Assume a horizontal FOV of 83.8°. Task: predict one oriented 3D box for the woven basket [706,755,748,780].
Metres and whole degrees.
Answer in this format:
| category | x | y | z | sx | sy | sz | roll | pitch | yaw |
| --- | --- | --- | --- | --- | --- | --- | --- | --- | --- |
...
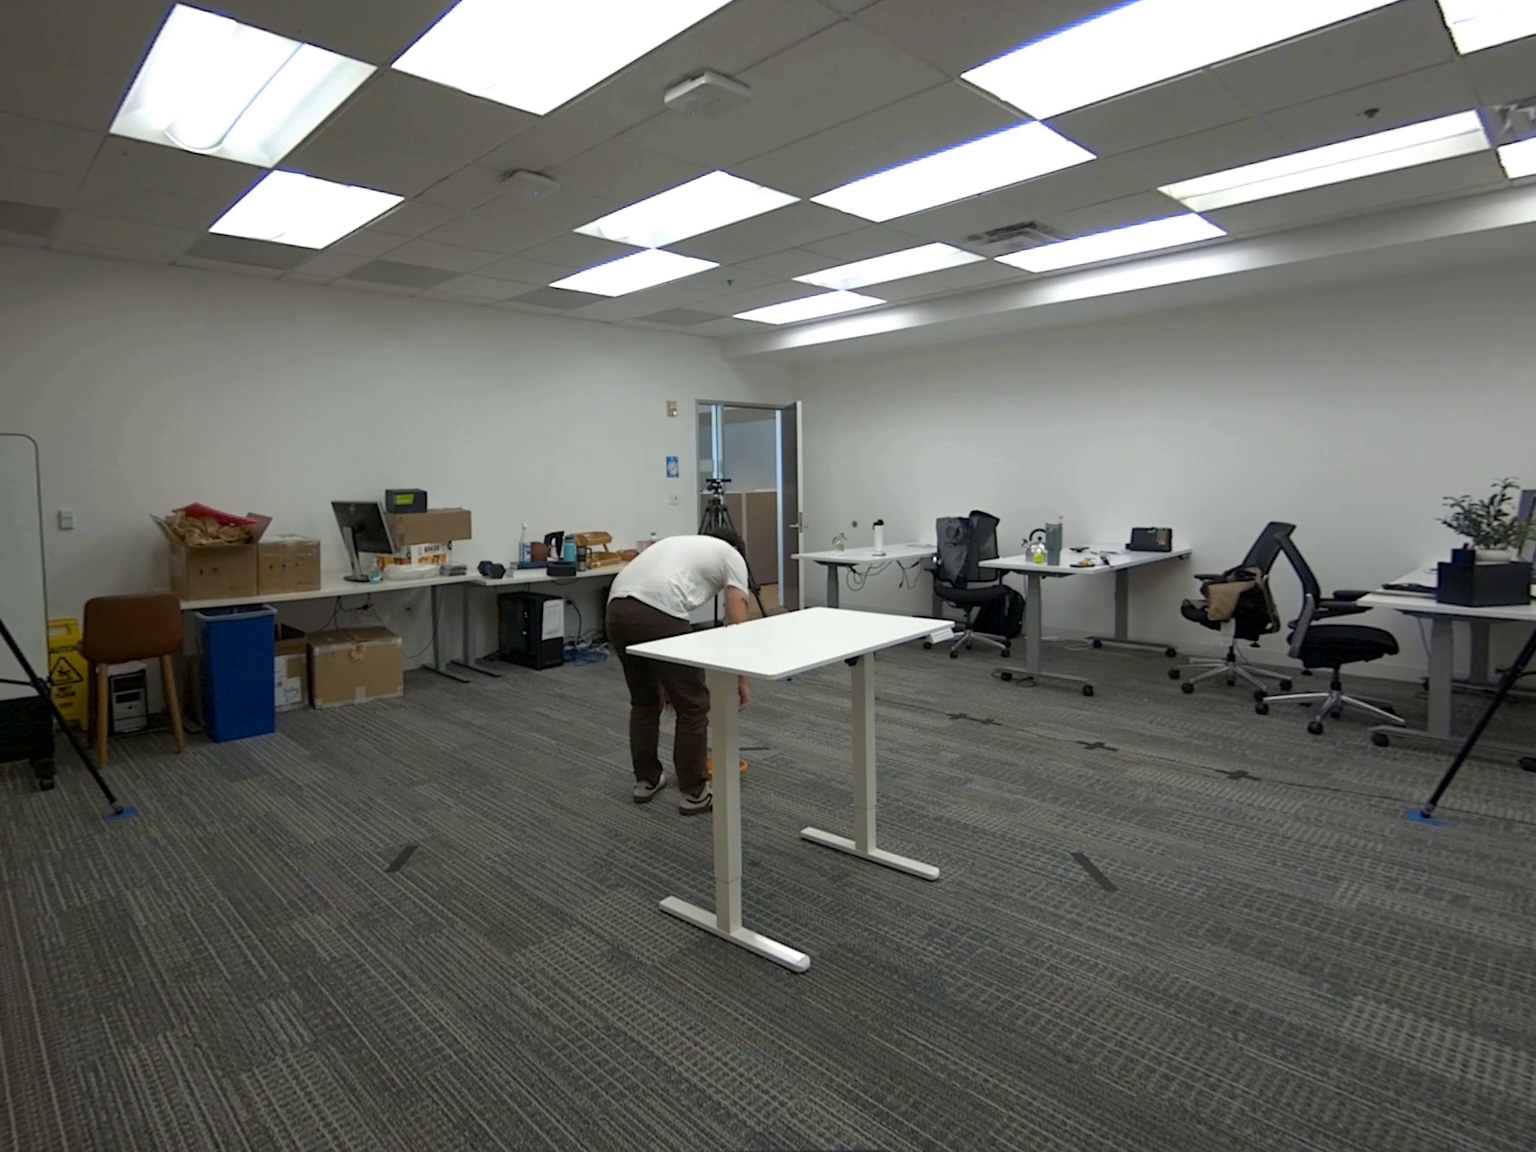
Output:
| category | x | y | z | sx | sy | sz | roll | pitch | yaw |
| --- | --- | --- | --- | --- | --- | --- | --- | --- | --- |
| woven basket | -0.267 | 0.916 | 3.988 | 0.351 | 0.073 | 0.253 | -2 | 5 | 0 |
